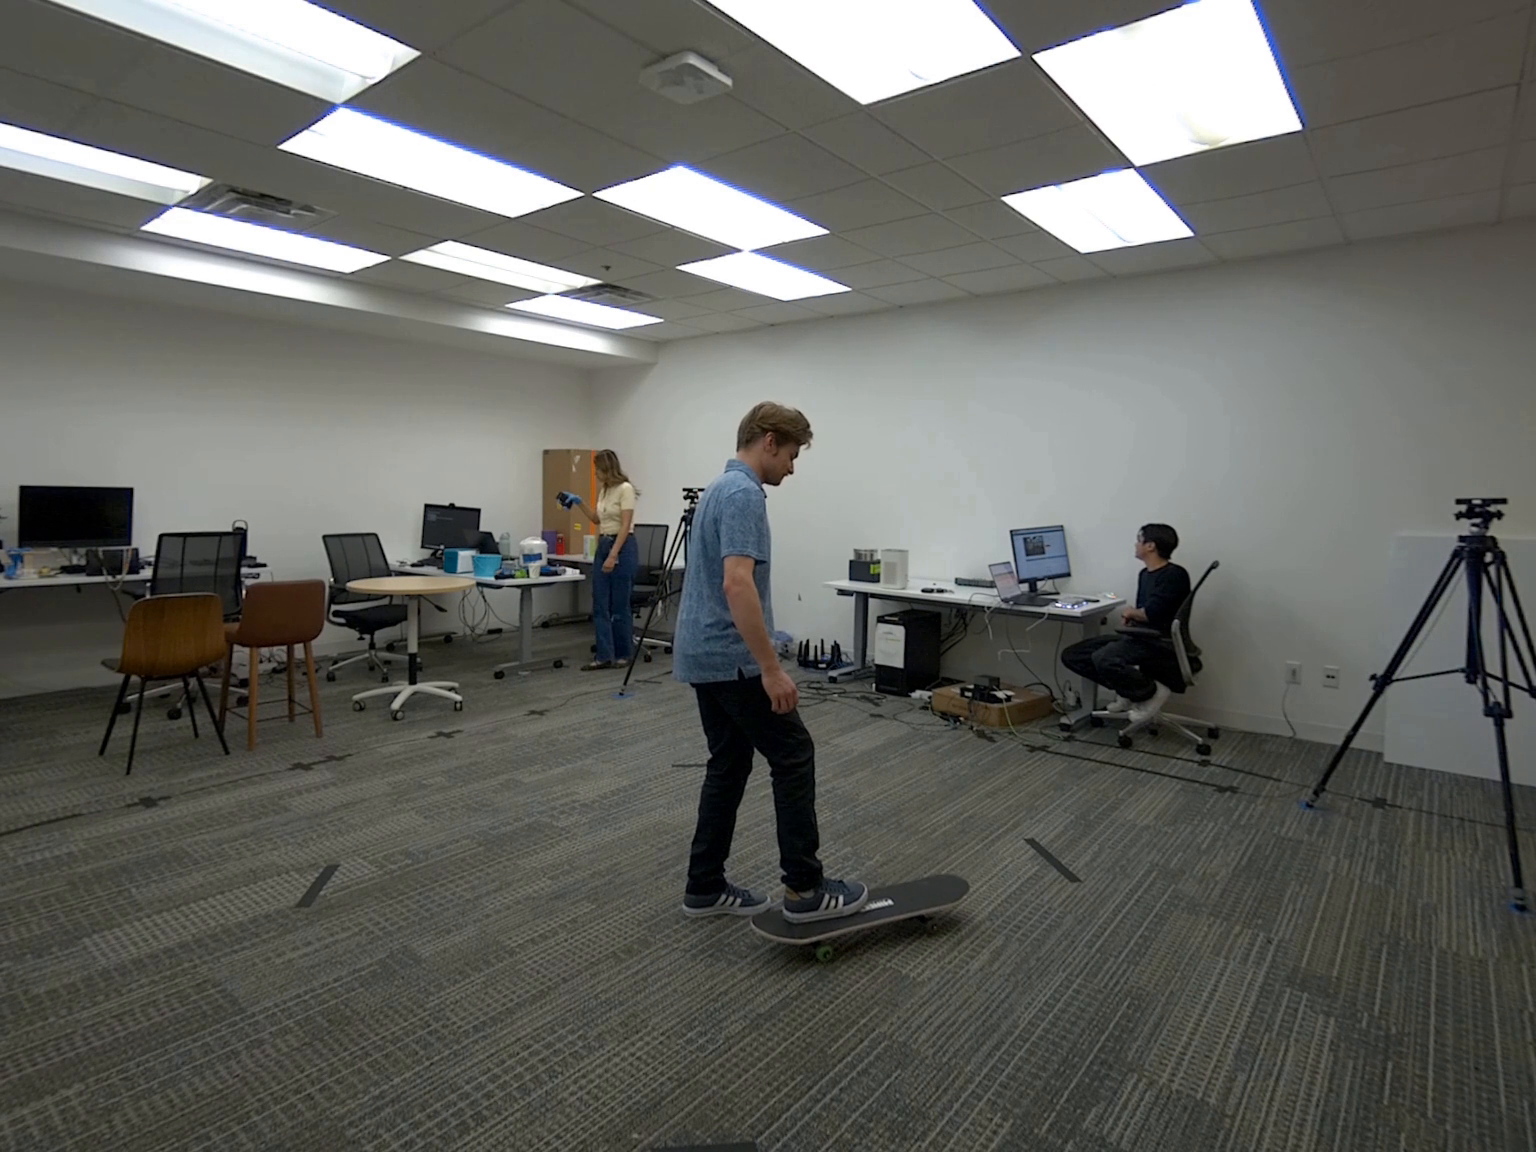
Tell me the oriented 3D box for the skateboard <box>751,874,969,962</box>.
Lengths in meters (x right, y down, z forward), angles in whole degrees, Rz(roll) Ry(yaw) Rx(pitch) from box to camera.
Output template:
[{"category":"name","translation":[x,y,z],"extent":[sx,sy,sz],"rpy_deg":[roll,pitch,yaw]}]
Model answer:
[{"category":"skateboard","translation":[0.299,1.067,2.675],"extent":[0.767,0.110,0.199],"rpy_deg":[-2,5,-25]}]
